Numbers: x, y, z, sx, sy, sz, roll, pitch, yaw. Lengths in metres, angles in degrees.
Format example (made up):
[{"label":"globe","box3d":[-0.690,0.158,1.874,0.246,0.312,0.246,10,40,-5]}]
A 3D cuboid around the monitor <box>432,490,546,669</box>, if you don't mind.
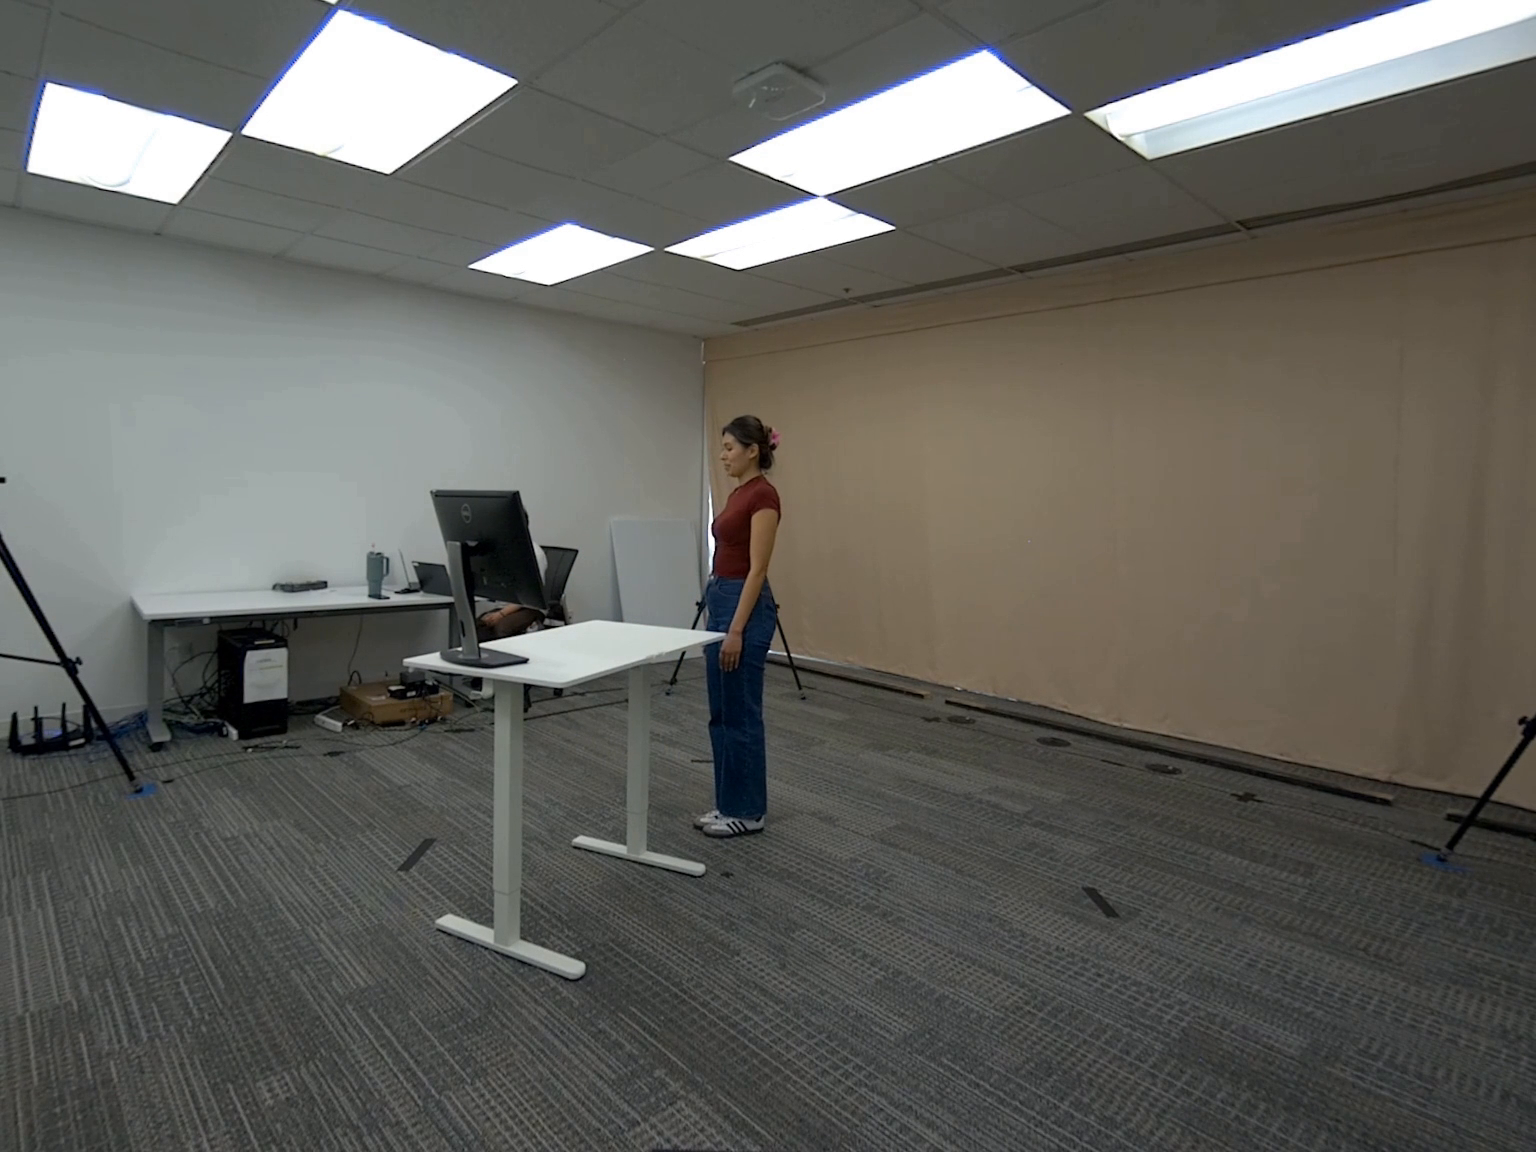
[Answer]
[{"label":"monitor","box3d":[-0.882,0.007,2.525,0.553,0.520,0.183,5,7,42]}]
